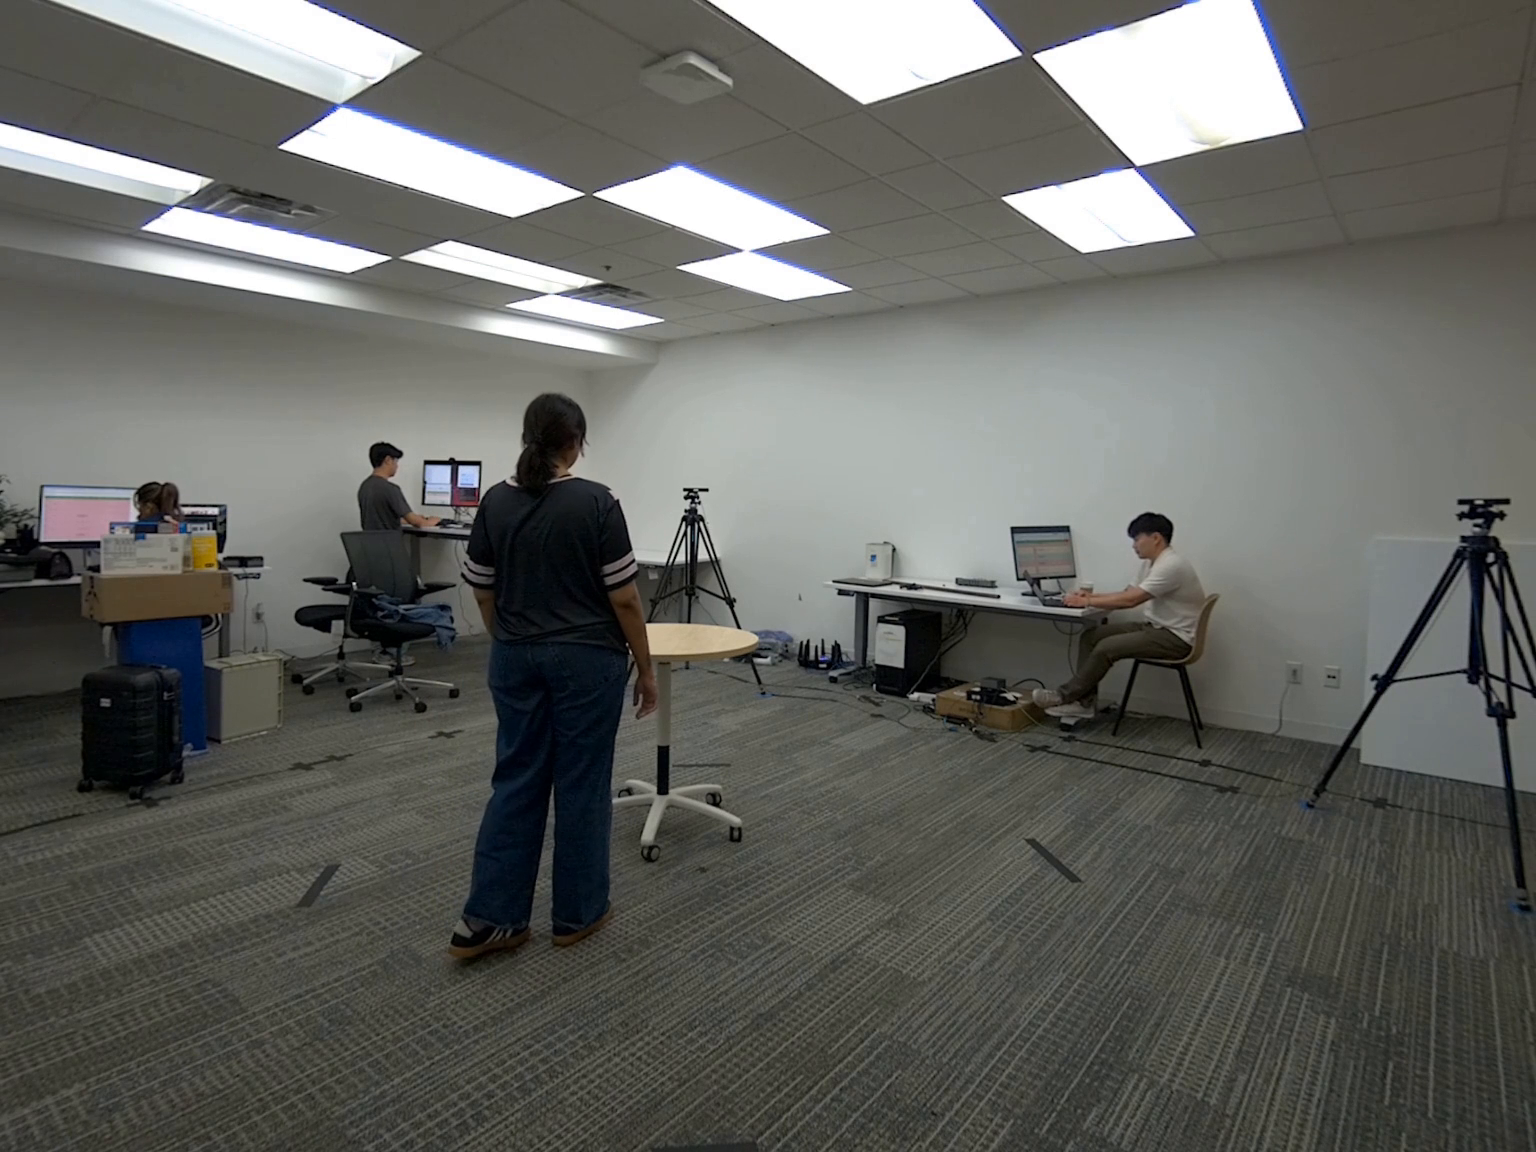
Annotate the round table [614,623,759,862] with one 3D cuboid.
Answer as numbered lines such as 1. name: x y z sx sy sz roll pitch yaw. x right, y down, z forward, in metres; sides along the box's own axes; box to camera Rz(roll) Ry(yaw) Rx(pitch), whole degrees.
1. round table: -0.431 0.643 3.480 0.763 0.792 0.767 0 4 -2
